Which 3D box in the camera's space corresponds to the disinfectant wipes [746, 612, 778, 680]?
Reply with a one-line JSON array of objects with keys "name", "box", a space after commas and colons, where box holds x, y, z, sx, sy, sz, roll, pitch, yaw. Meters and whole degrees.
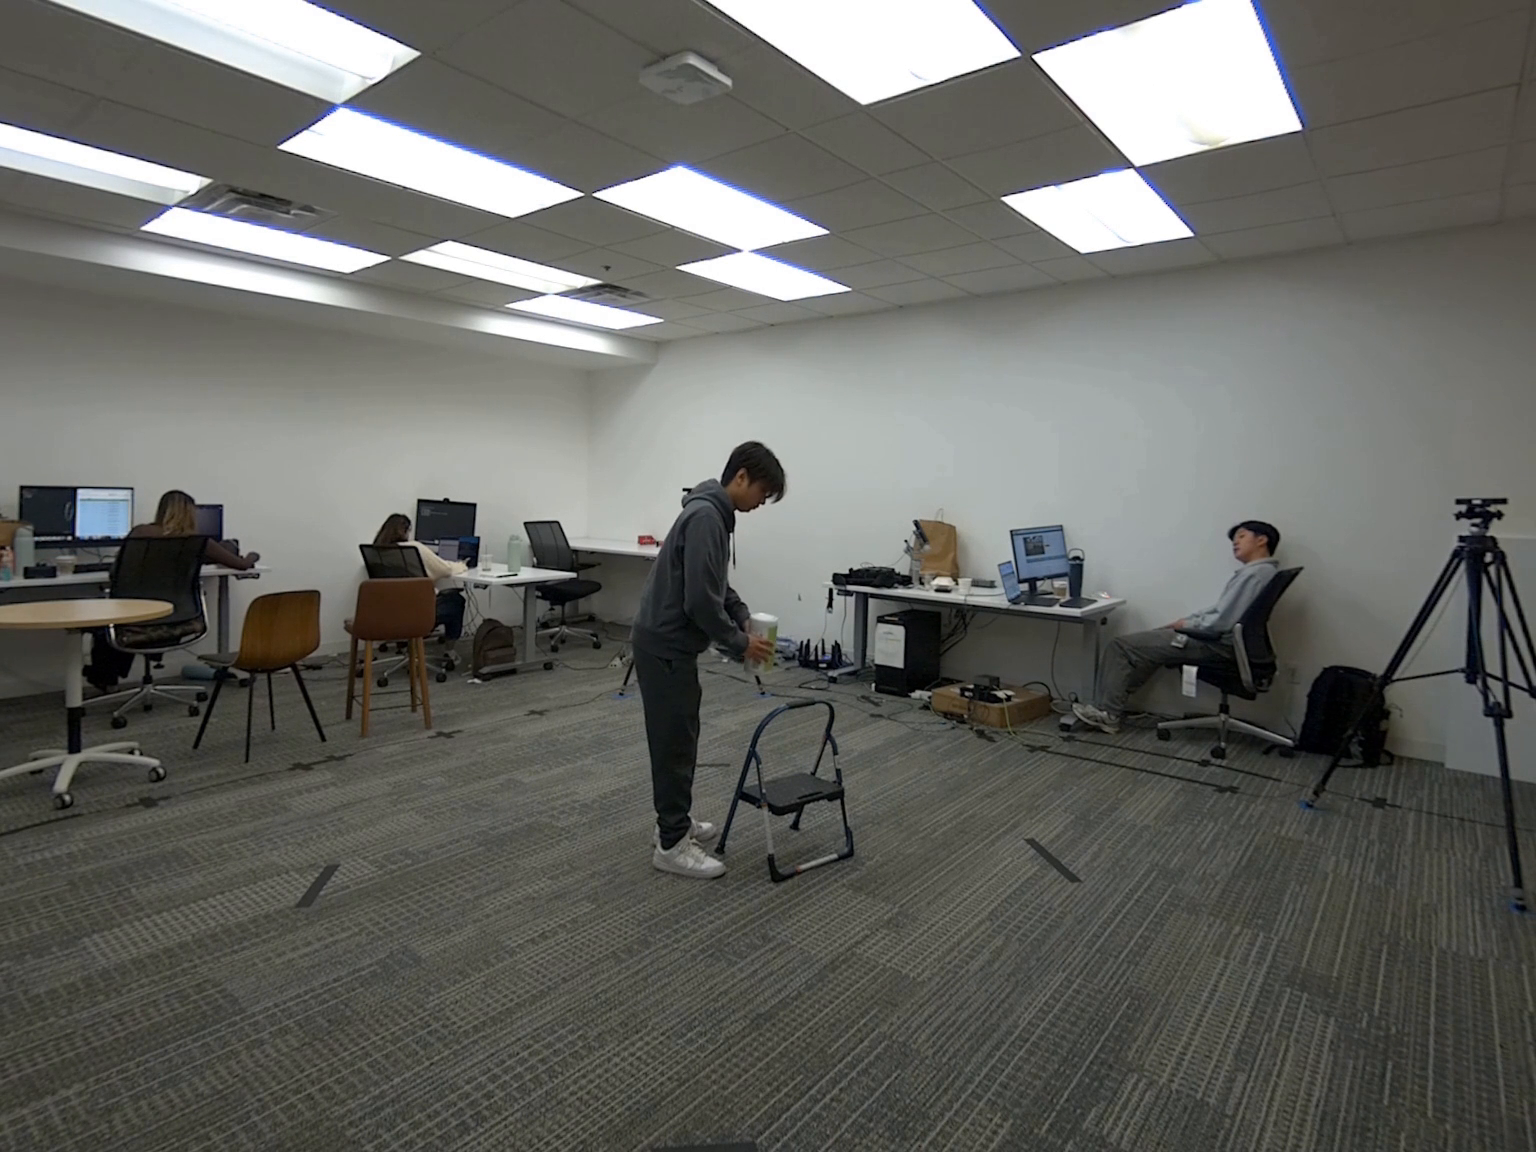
[{"name": "disinfectant wipes", "box": [-0.037, 0.253, 3.179, 0.117, 0.216, 0.119, 6, 9, -3]}]
